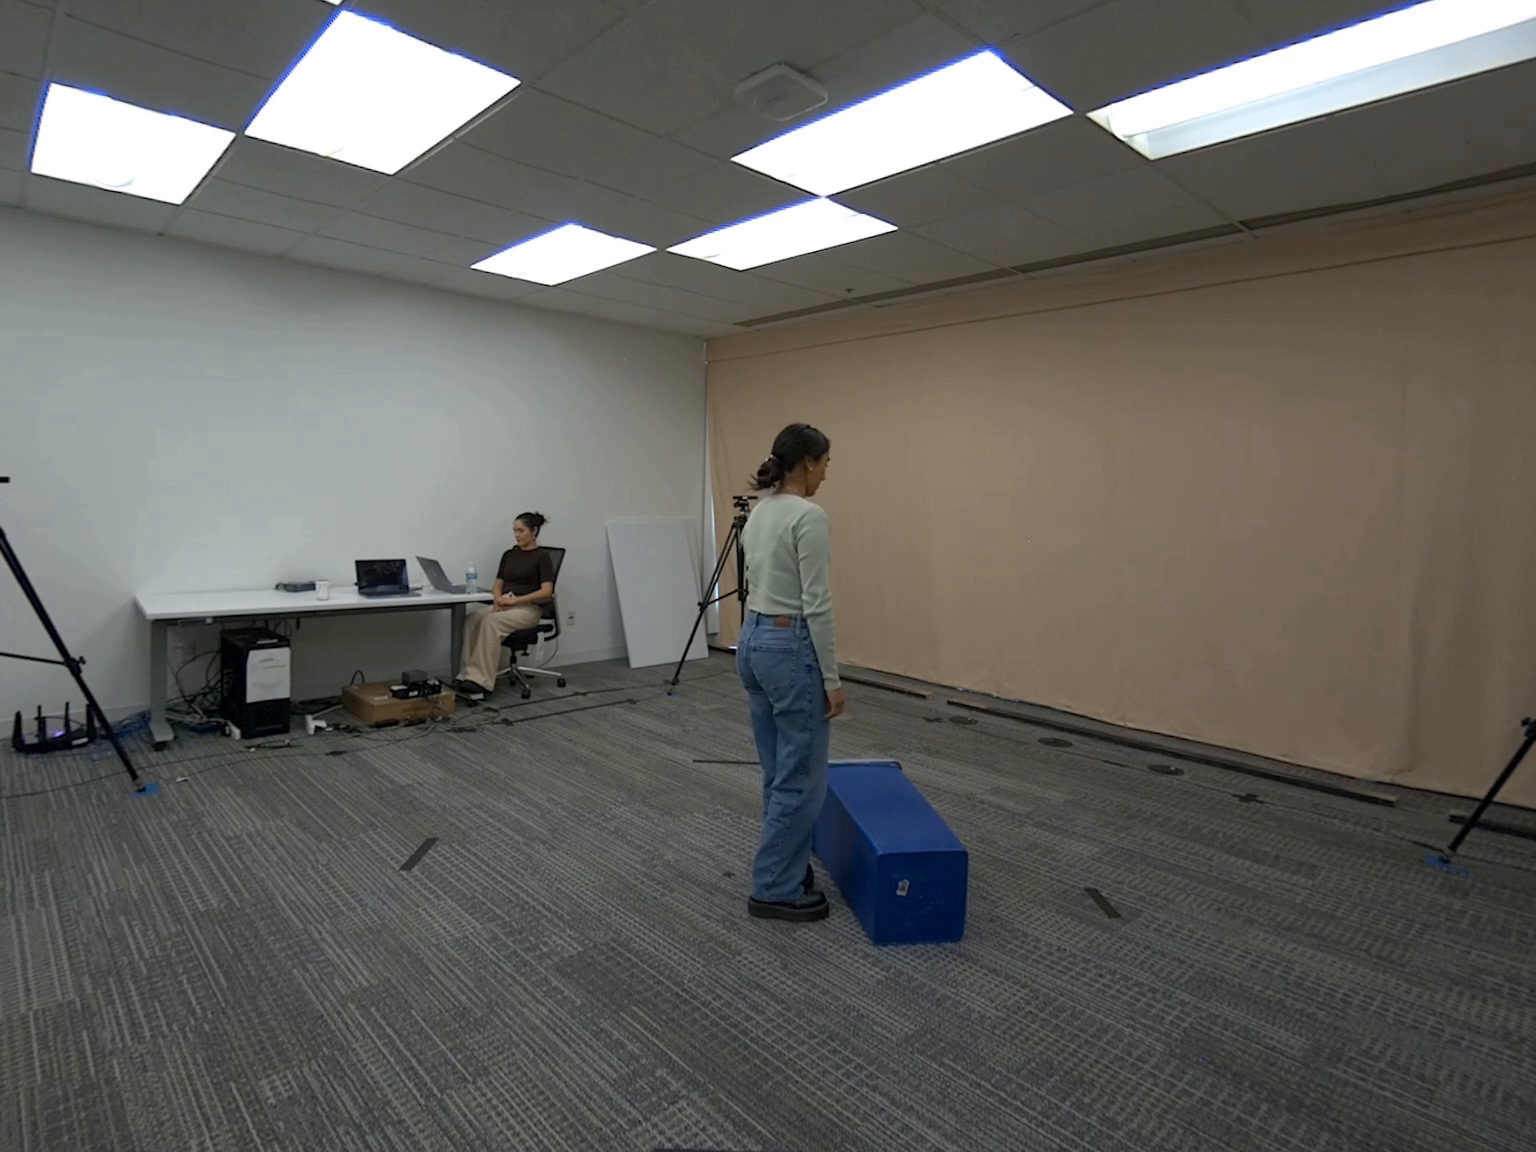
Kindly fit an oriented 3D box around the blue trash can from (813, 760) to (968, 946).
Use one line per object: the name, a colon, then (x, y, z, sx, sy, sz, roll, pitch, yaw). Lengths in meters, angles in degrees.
blue trash can: (0.401, 0.948, 2.984, 0.371, 0.376, 0.722, 0, 7, -10)
